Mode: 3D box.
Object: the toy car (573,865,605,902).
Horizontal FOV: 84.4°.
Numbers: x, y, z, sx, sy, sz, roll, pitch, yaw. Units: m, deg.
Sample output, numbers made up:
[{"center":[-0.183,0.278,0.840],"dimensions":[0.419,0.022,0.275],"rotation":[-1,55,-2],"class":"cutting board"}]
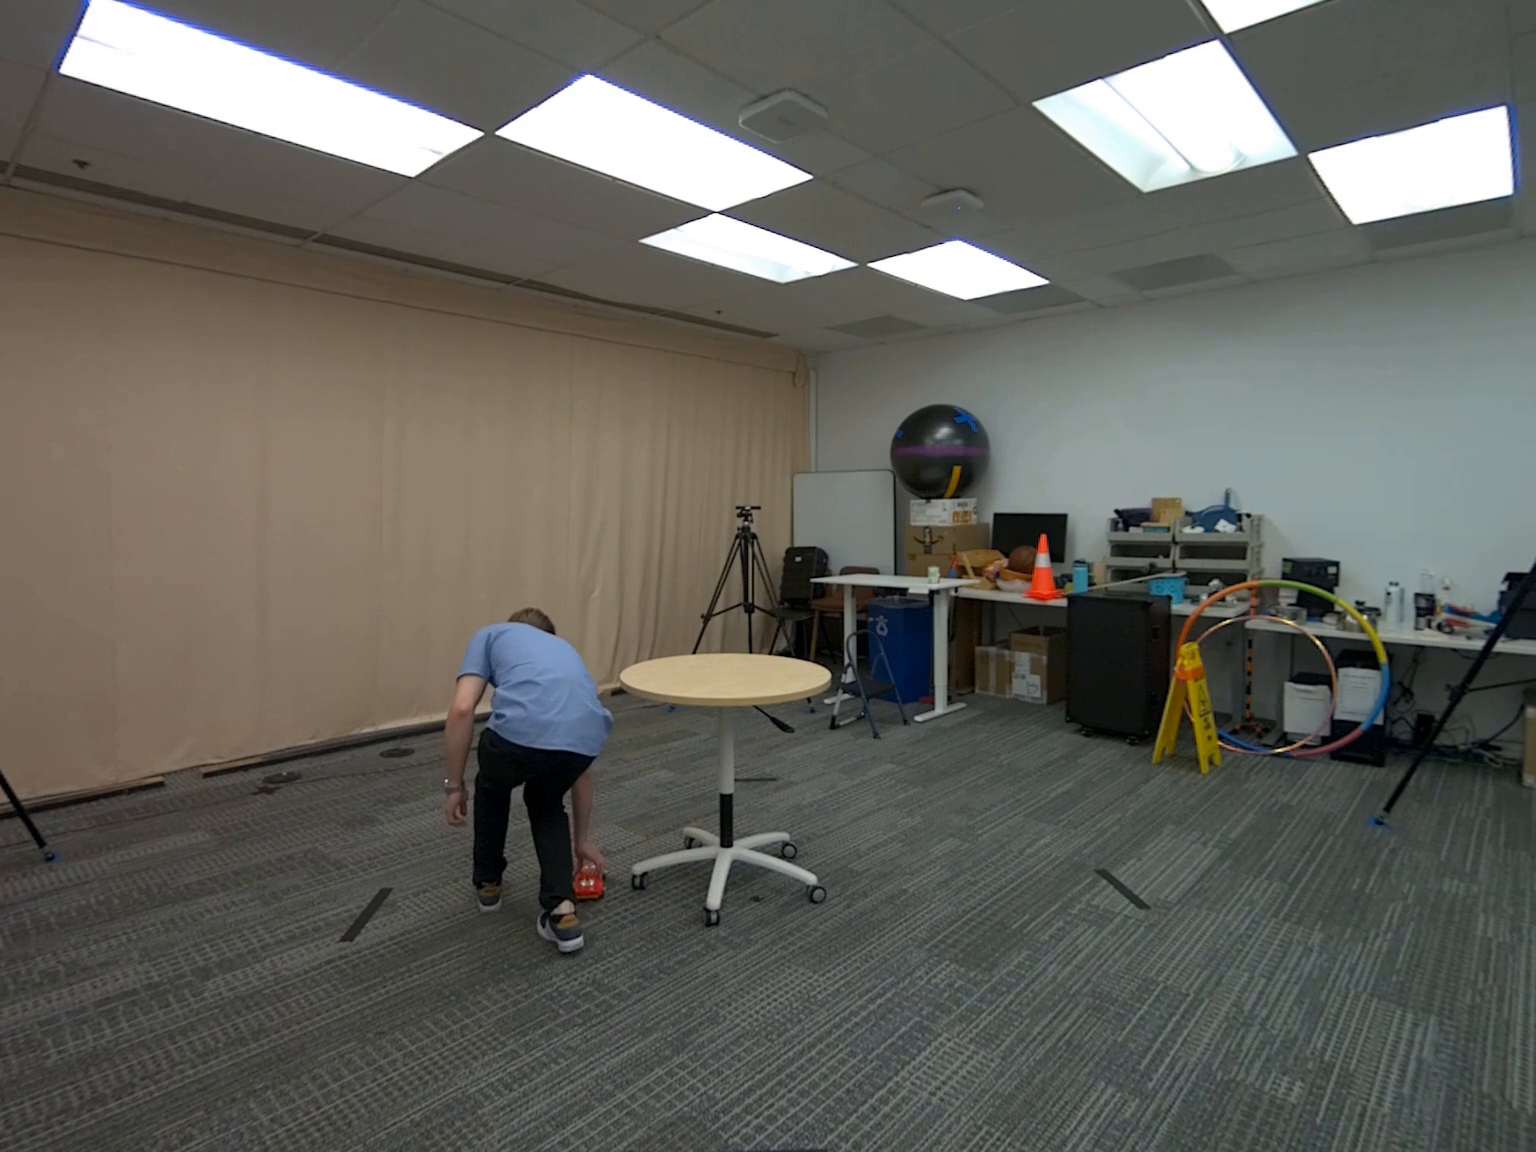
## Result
[{"center":[-0.653,1.113,3.049],"dimensions":[0.129,0.083,0.254],"rotation":[1,-7,-6],"class":"toy car"}]
